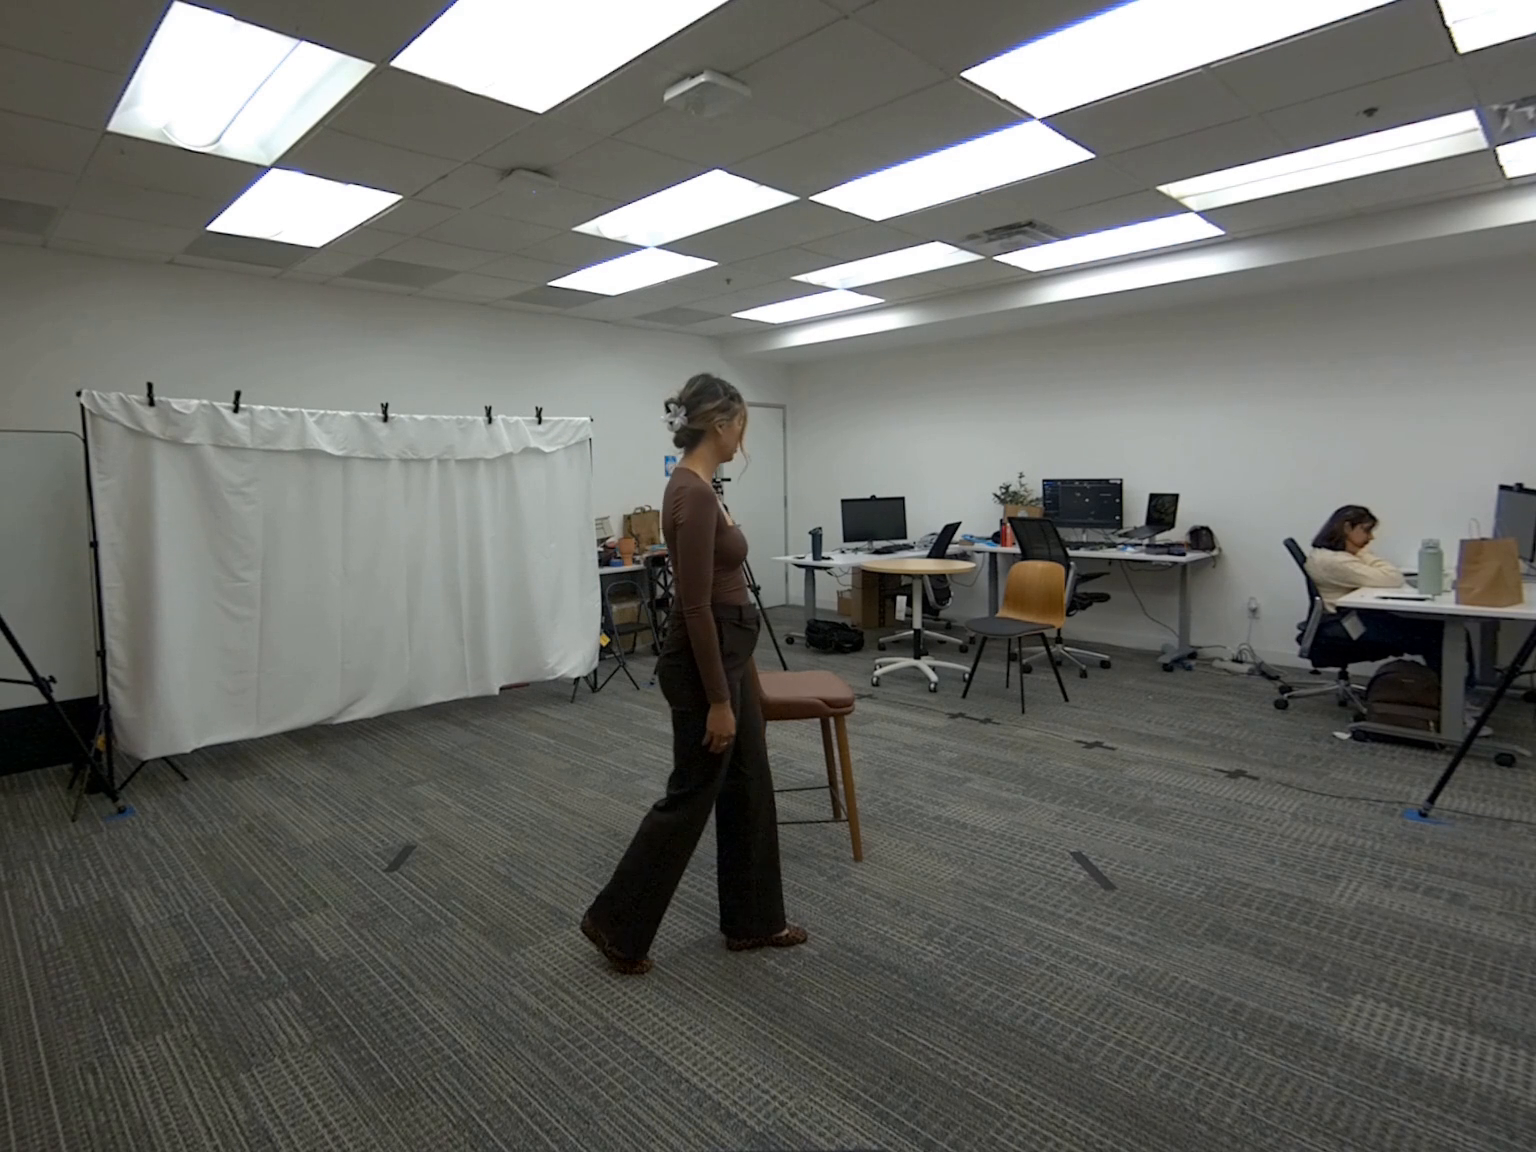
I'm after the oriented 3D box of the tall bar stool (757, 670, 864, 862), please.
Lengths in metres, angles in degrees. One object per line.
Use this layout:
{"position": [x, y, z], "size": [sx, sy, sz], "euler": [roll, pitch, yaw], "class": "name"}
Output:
{"position": [0.090, 0.590, 3.257], "size": [0.465, 0.887, 0.460], "euler": [-3, 4, -6], "class": "tall bar stool"}
